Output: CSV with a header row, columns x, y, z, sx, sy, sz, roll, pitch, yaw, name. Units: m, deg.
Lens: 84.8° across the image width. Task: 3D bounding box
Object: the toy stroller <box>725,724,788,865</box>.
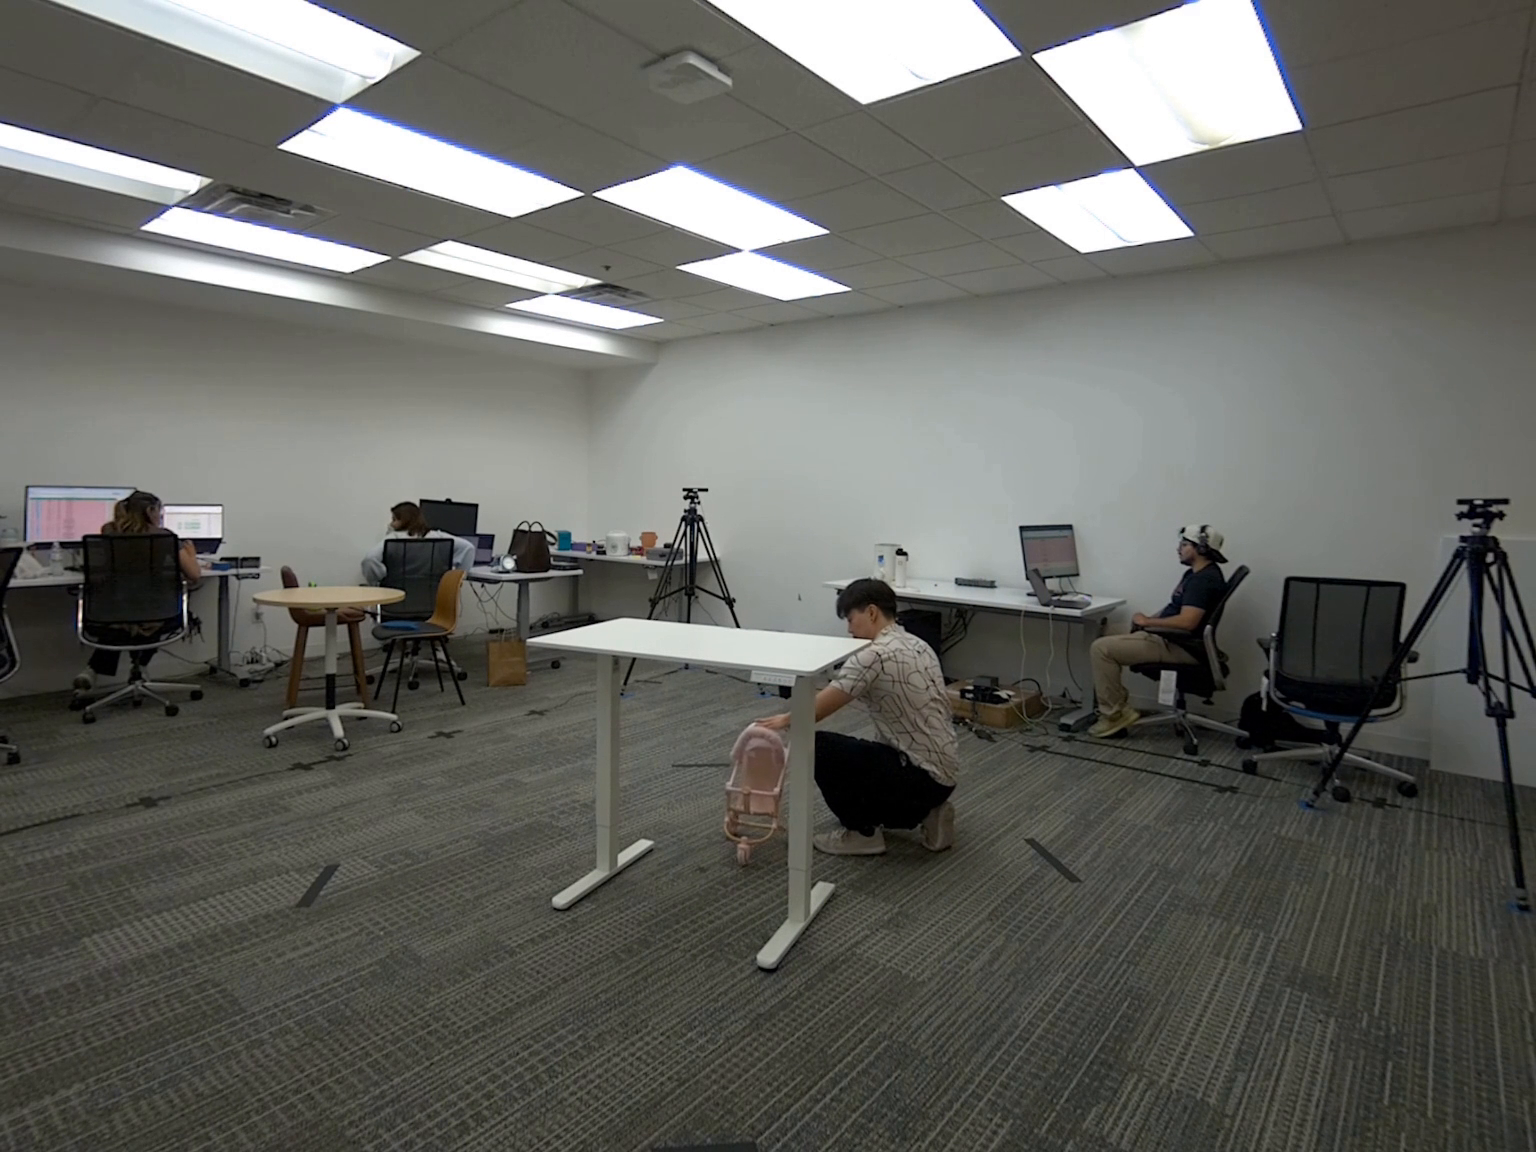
x,y,z,sx,sy,sz,roll,pitch,yaw,name
-0.054,0.824,3.321,0.288,0.540,0.330,2,-12,20,toy stroller
